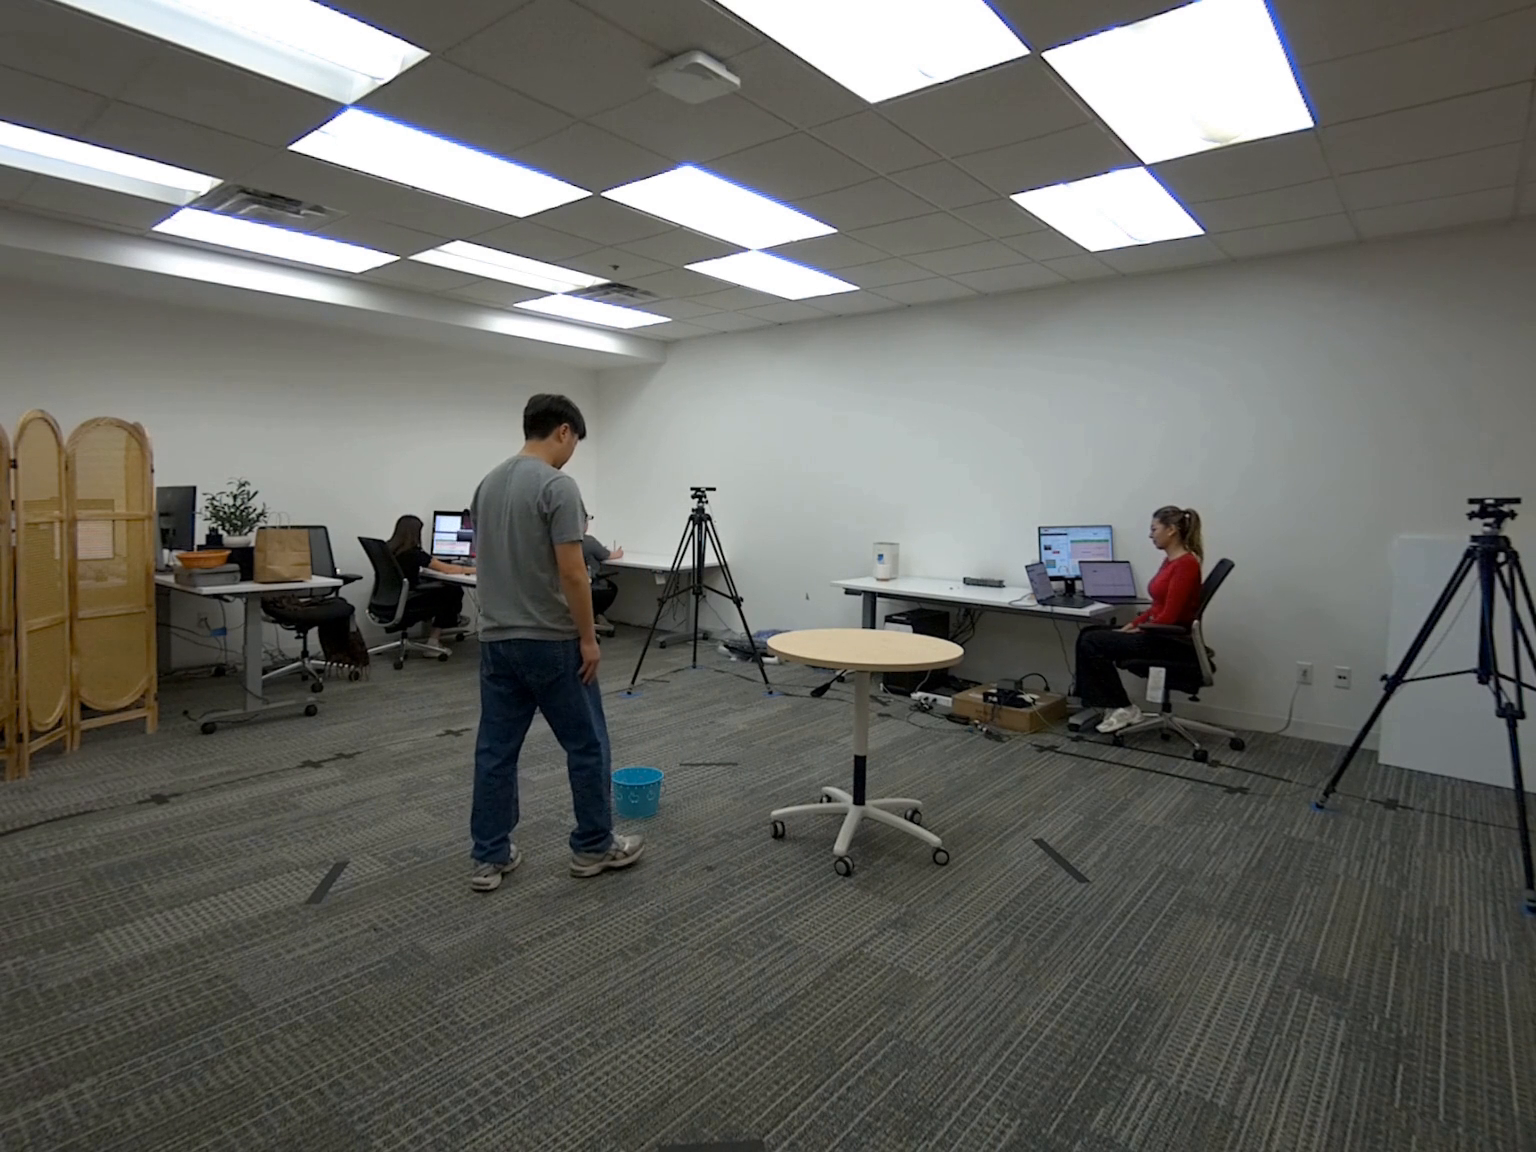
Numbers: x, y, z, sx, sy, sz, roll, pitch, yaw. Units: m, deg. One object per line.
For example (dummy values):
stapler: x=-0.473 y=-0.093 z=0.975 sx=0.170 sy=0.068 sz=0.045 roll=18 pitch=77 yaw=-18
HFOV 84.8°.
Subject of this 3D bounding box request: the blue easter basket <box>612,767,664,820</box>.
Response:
blue easter basket: x=-0.570 y=0.927 z=3.664 sx=0.243 sy=0.155 sz=0.245 roll=0 pitch=6 yaw=-2
